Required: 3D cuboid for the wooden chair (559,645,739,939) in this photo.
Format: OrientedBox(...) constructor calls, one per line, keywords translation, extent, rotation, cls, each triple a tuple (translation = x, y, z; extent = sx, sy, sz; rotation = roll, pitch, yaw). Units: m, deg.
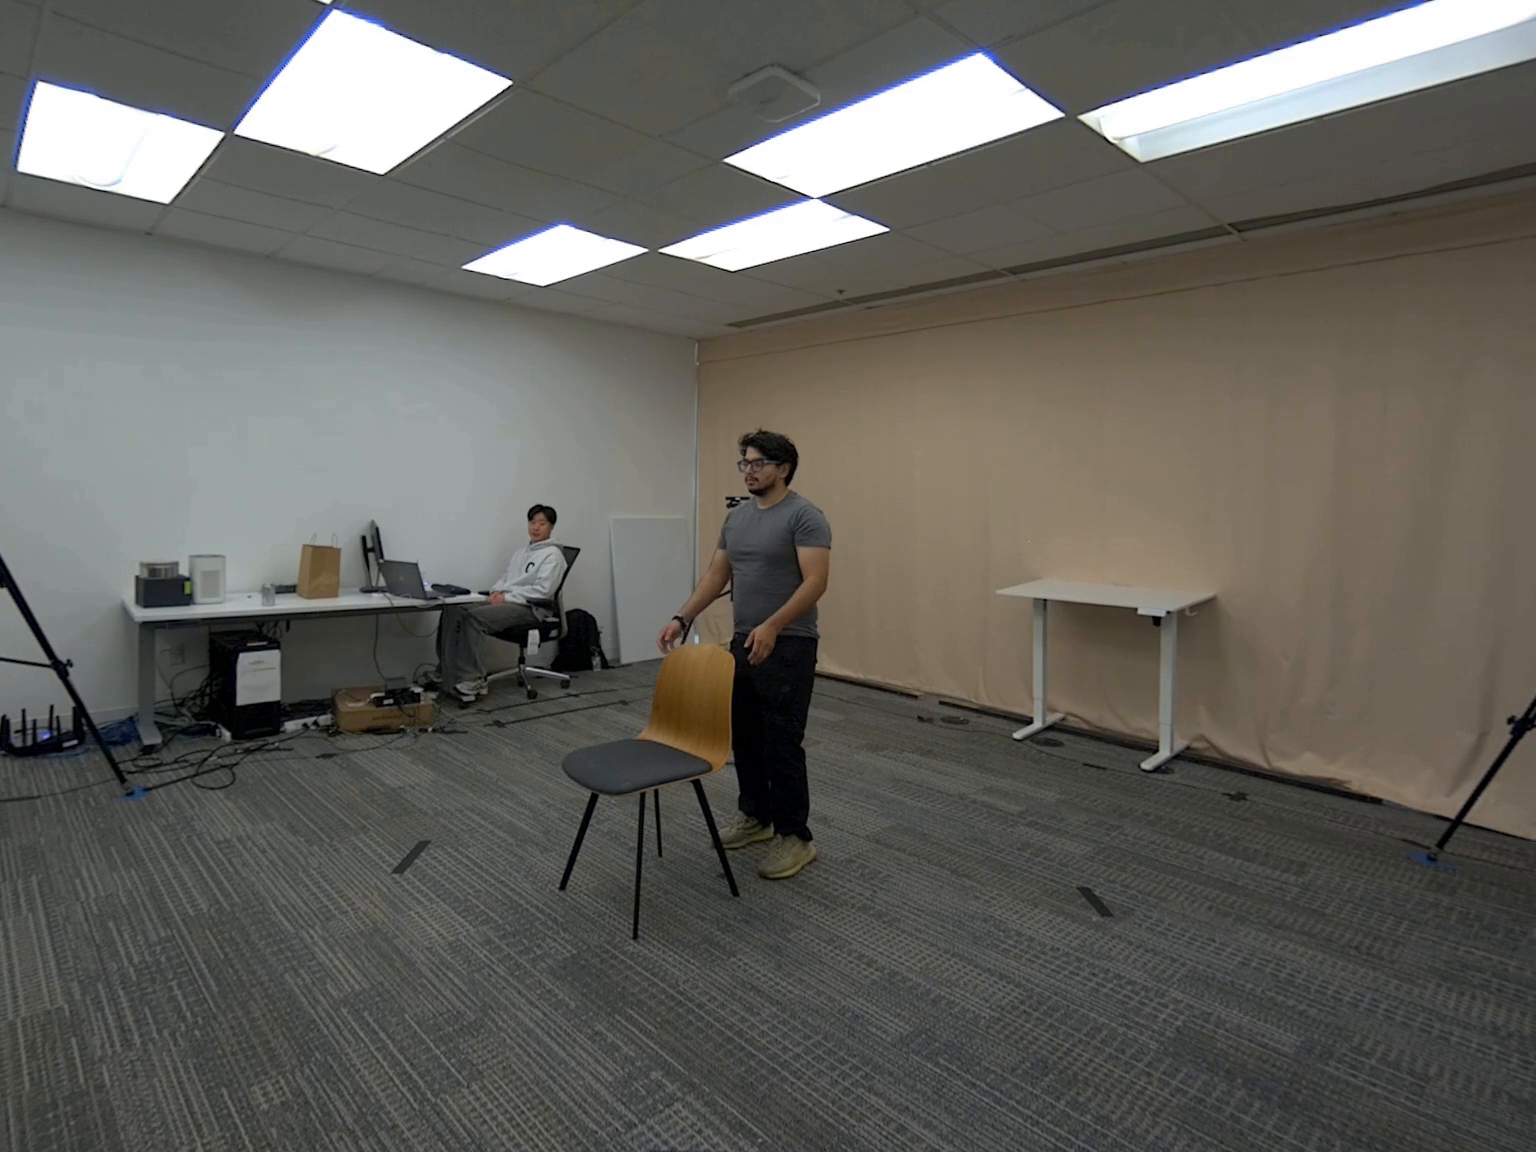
OrientedBox(translation=(-0.421, 0.692, 2.912), extent=(0.510, 0.877, 0.490), rotation=(4, 1, -44), cls="wooden chair")
